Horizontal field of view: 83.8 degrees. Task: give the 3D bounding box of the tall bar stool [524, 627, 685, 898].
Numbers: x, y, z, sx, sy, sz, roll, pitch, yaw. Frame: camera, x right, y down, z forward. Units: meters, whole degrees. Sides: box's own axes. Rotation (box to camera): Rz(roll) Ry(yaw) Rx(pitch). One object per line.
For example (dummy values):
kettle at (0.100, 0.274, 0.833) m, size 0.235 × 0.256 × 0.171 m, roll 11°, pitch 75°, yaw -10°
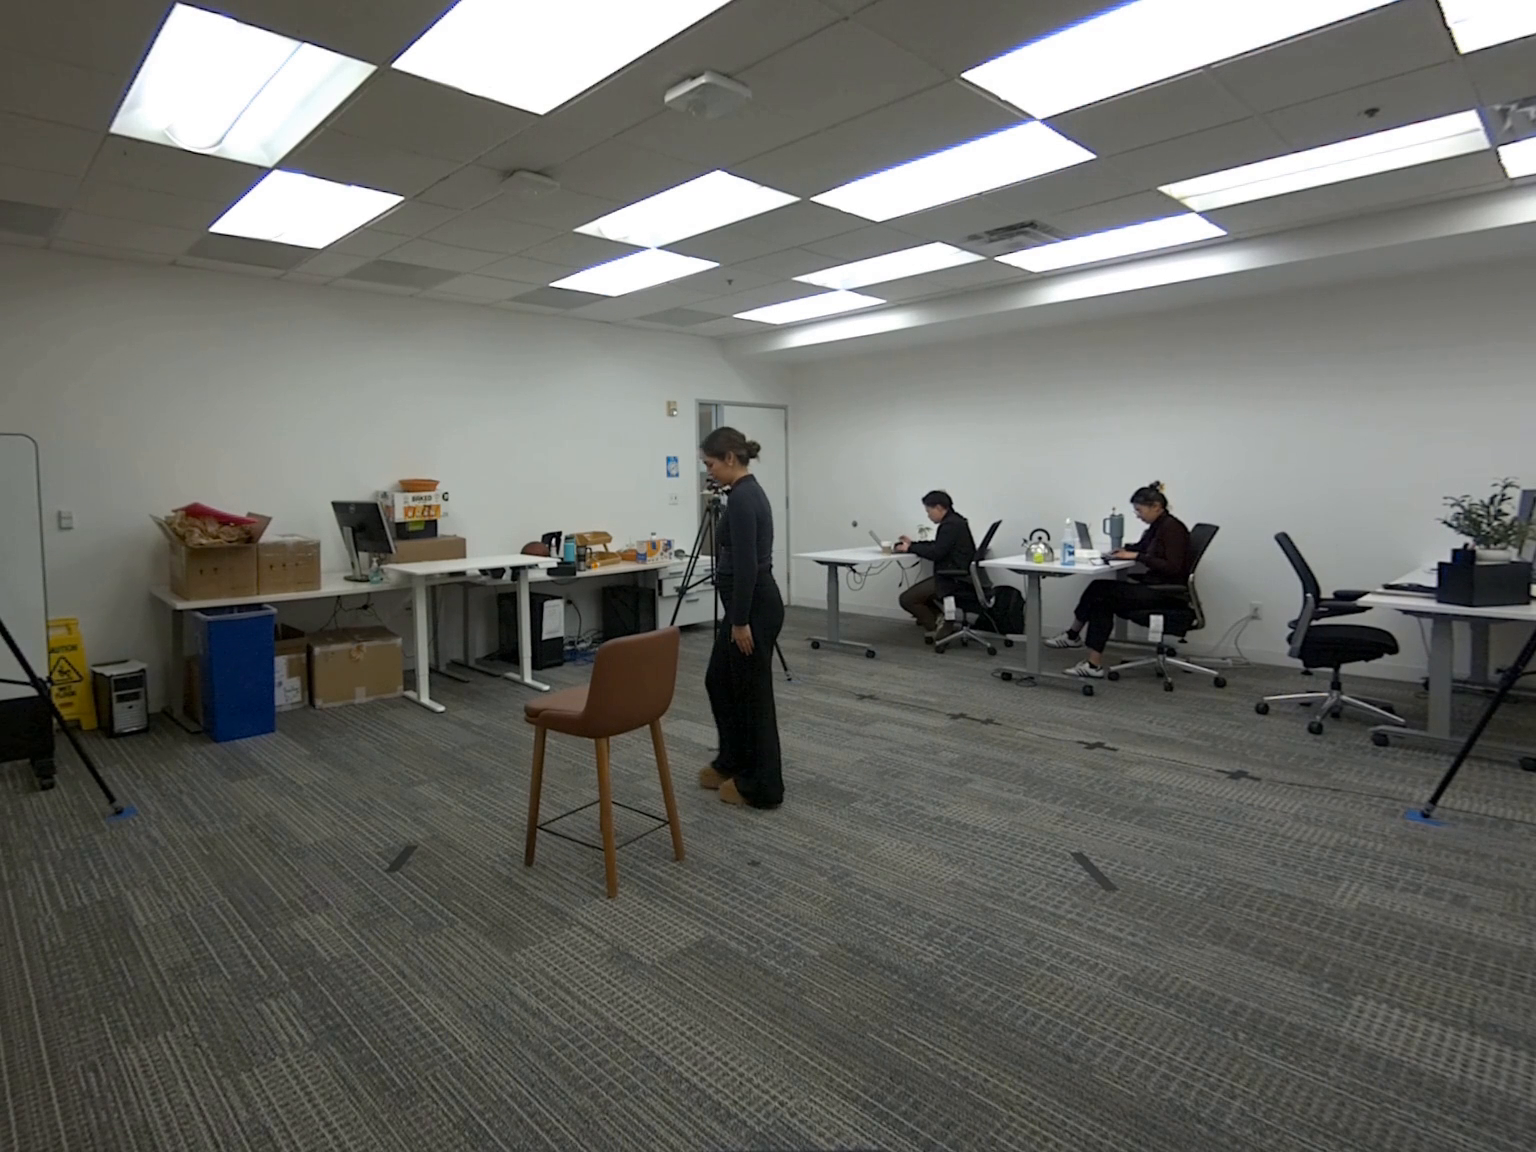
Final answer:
tall bar stool at (-0.602, 0.620, 3.115) m, size 0.482 × 0.886 × 0.445 m, roll 4°, pitch 6°, yaw 37°
